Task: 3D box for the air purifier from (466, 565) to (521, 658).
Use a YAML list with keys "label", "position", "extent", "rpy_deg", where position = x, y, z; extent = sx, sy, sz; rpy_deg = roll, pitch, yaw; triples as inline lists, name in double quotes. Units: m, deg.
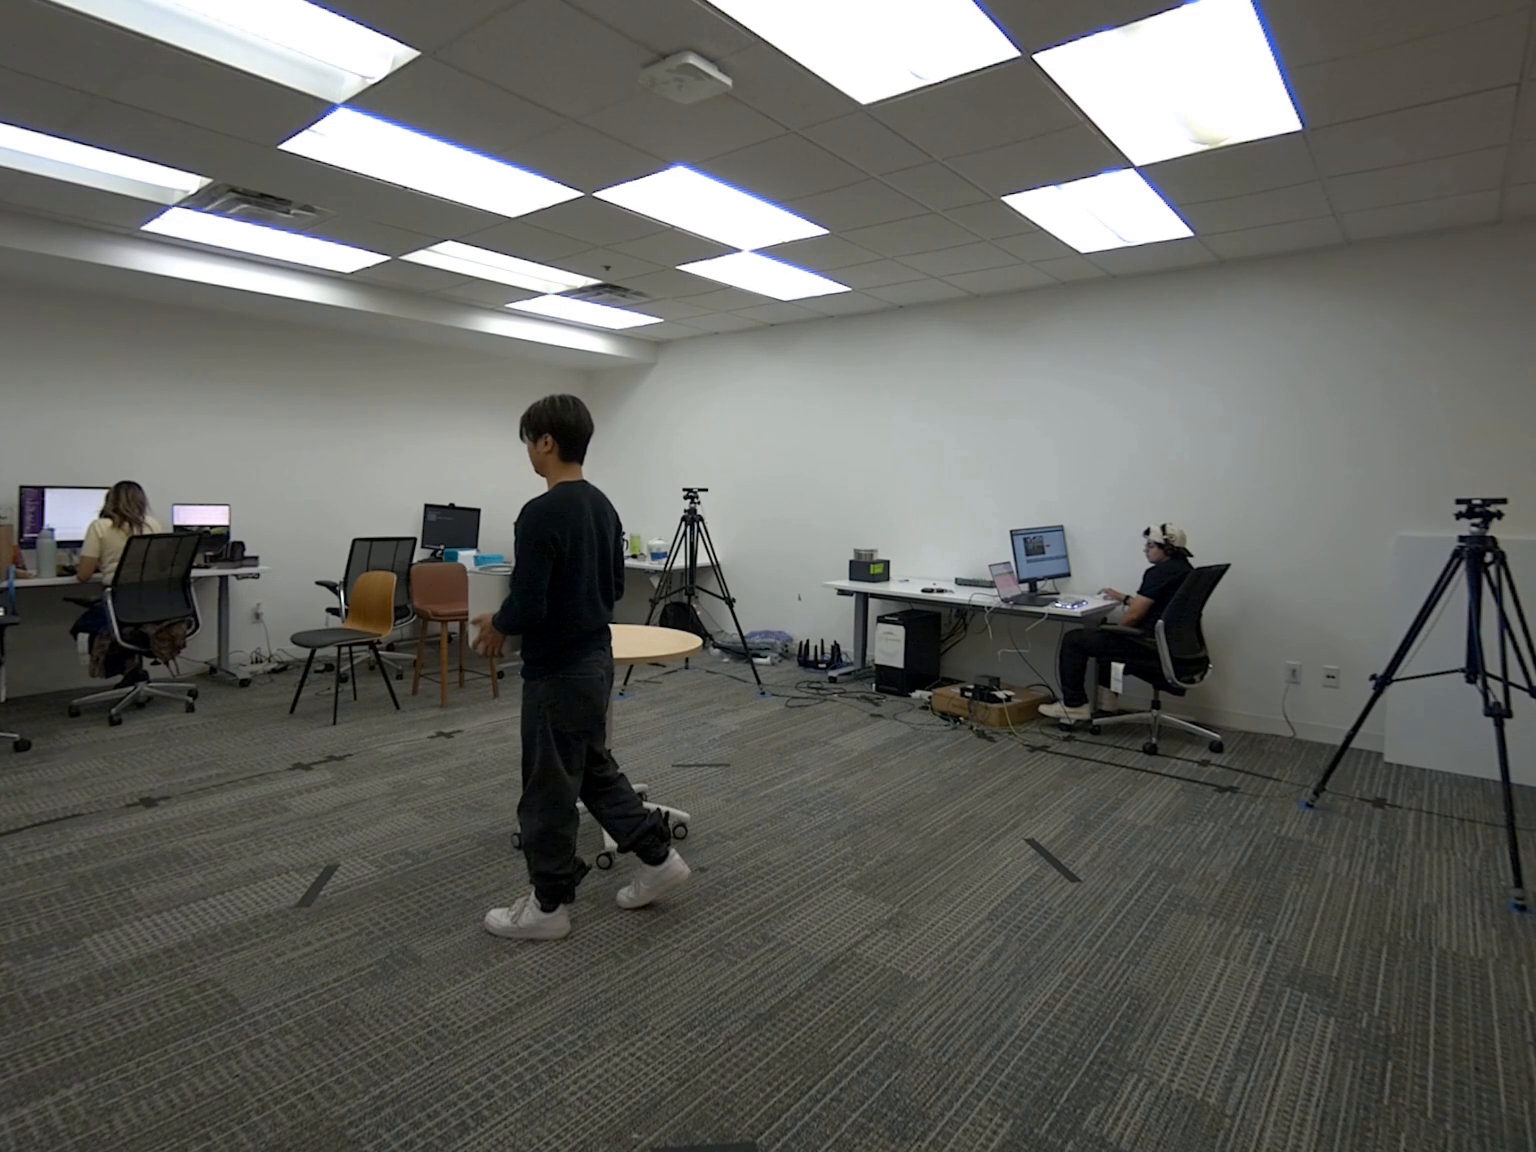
- label: "air purifier"
  position: [-0.872, 0.102, 2.744]
  extent: [0.175, 0.264, 0.169]
  rpy_deg: [5, 8, 19]
